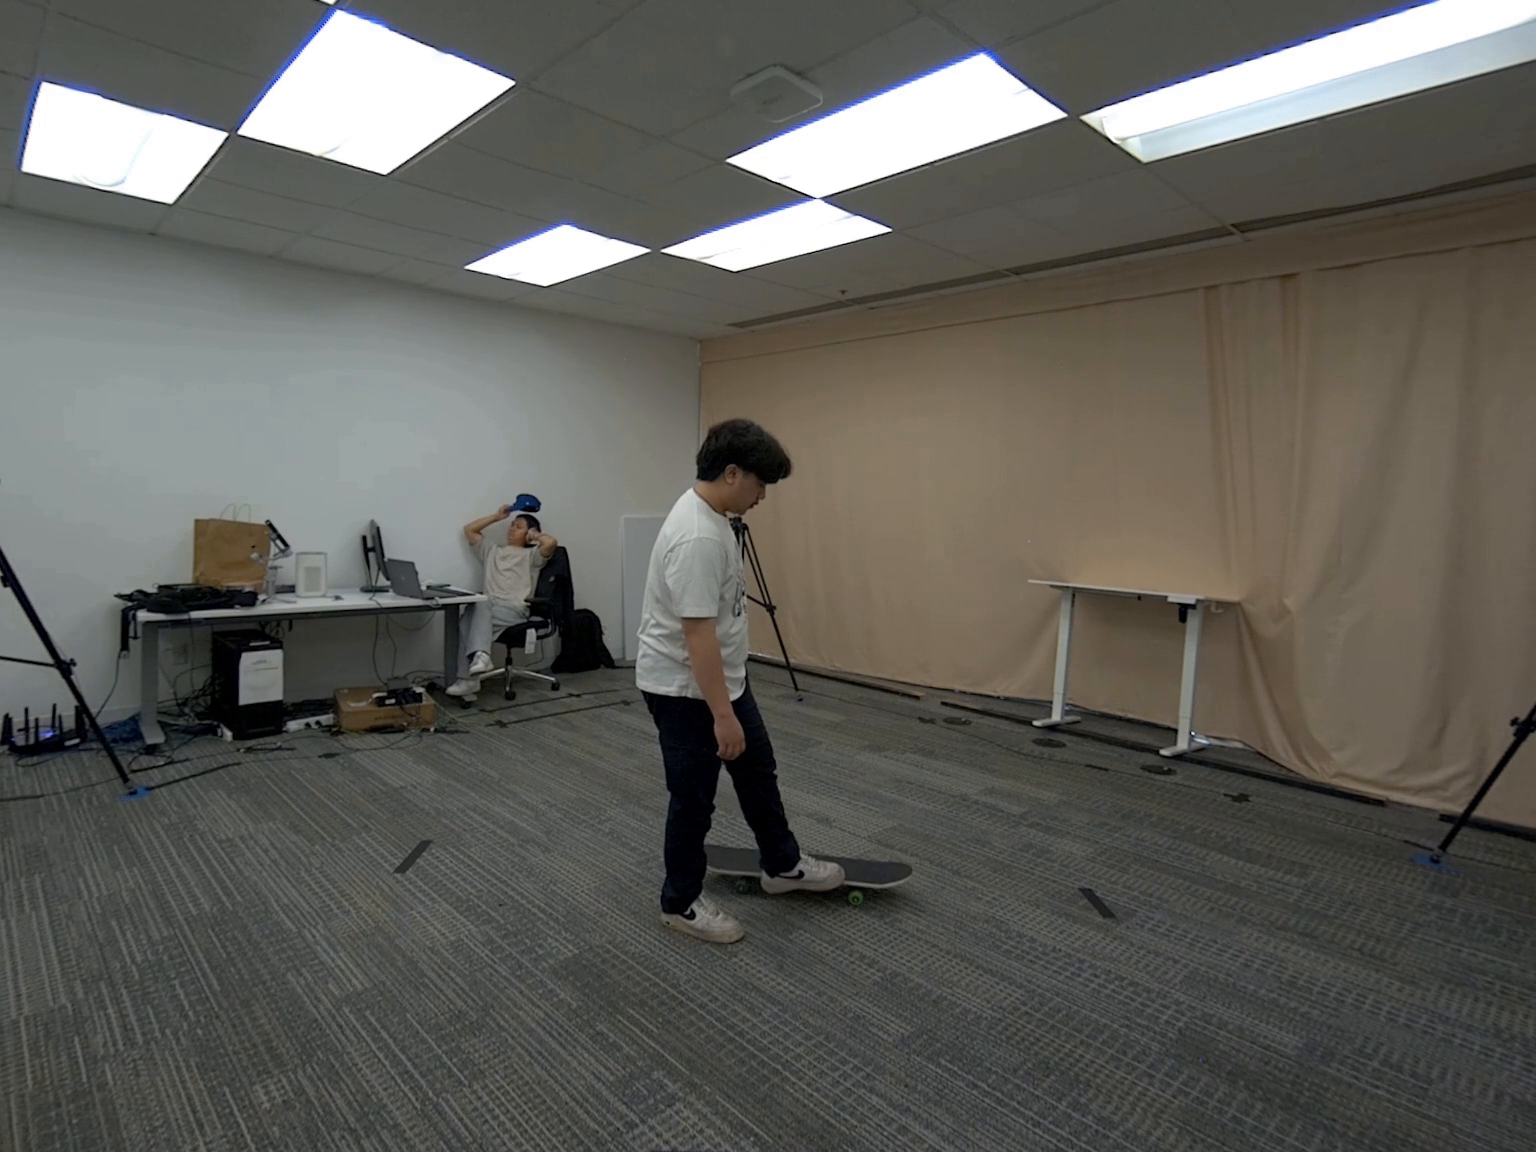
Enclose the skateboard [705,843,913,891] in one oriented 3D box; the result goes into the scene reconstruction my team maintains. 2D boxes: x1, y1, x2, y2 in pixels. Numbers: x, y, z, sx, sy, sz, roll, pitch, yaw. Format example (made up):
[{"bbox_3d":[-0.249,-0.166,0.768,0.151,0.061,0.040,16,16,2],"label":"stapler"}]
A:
[{"bbox_3d":[0.111,1.066,3.011,0.792,0.110,0.192,2,5,11],"label":"skateboard"}]
